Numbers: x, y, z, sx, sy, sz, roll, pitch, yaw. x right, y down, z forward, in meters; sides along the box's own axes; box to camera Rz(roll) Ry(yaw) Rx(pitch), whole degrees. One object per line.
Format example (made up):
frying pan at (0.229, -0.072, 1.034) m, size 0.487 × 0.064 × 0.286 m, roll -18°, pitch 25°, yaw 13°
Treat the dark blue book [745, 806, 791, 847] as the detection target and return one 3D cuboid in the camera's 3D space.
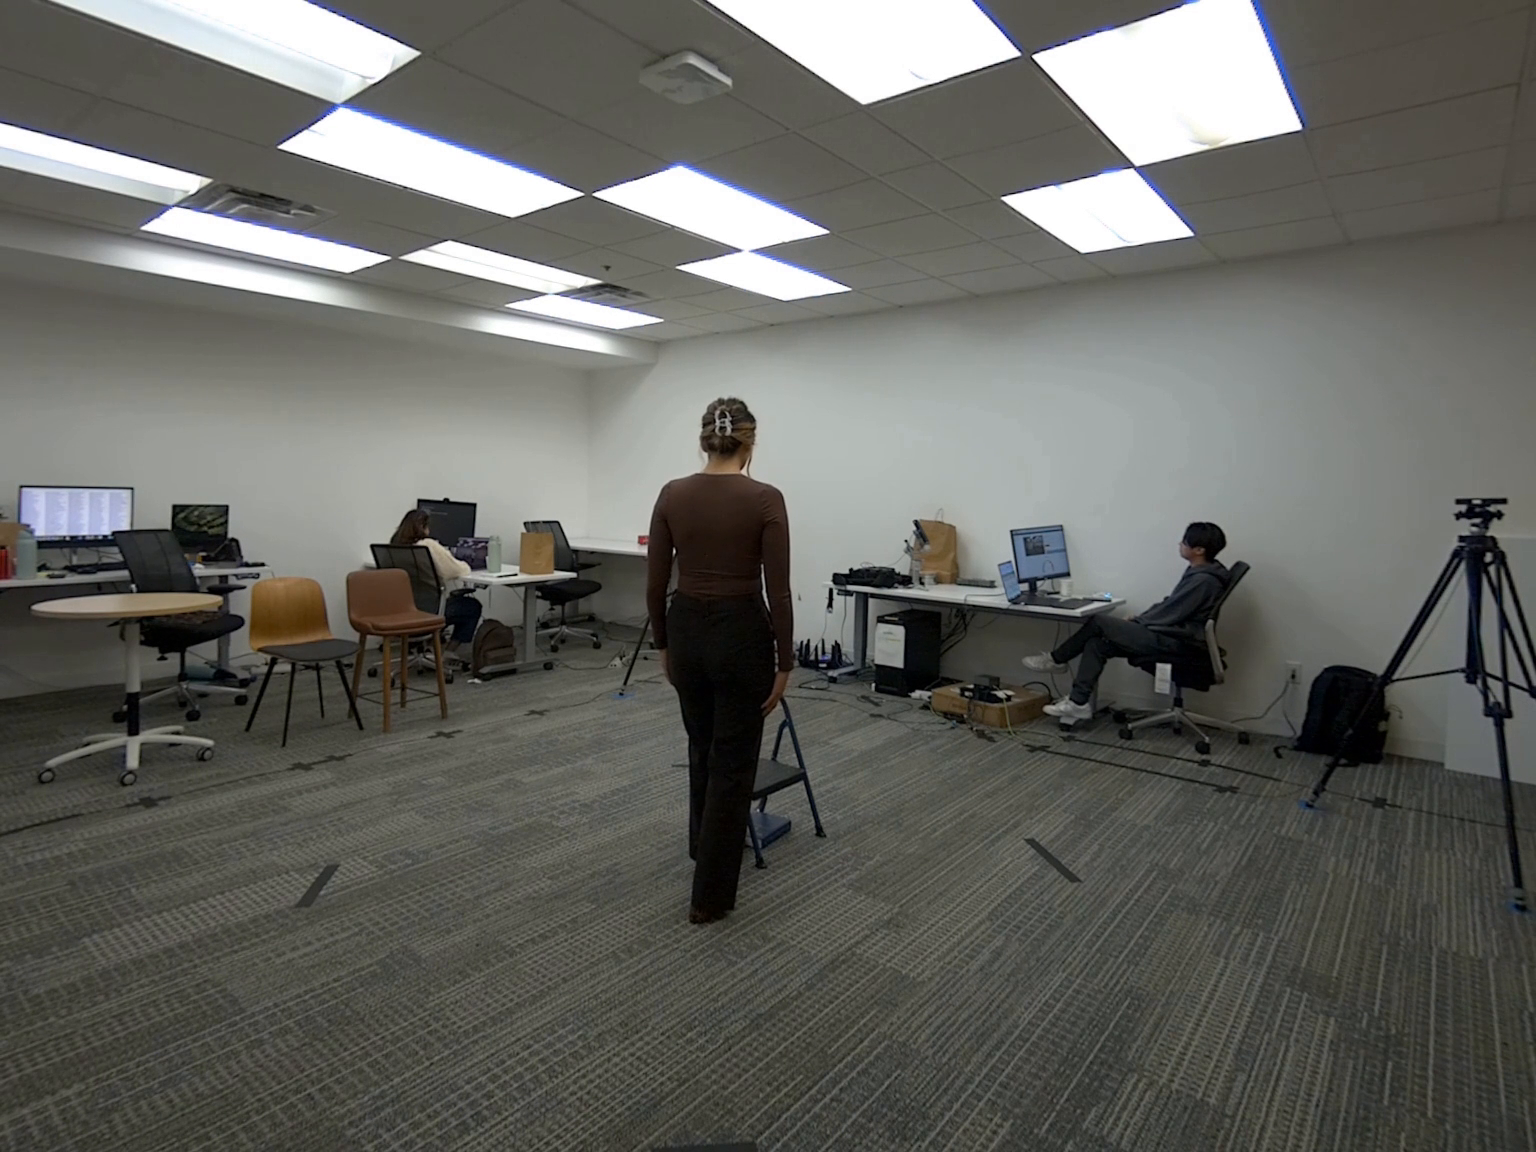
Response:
dark blue book at (-0.042, 1.013, 3.420) m, size 0.168 × 0.045 × 0.239 m, roll 4°, pitch 6°, yaw 31°
